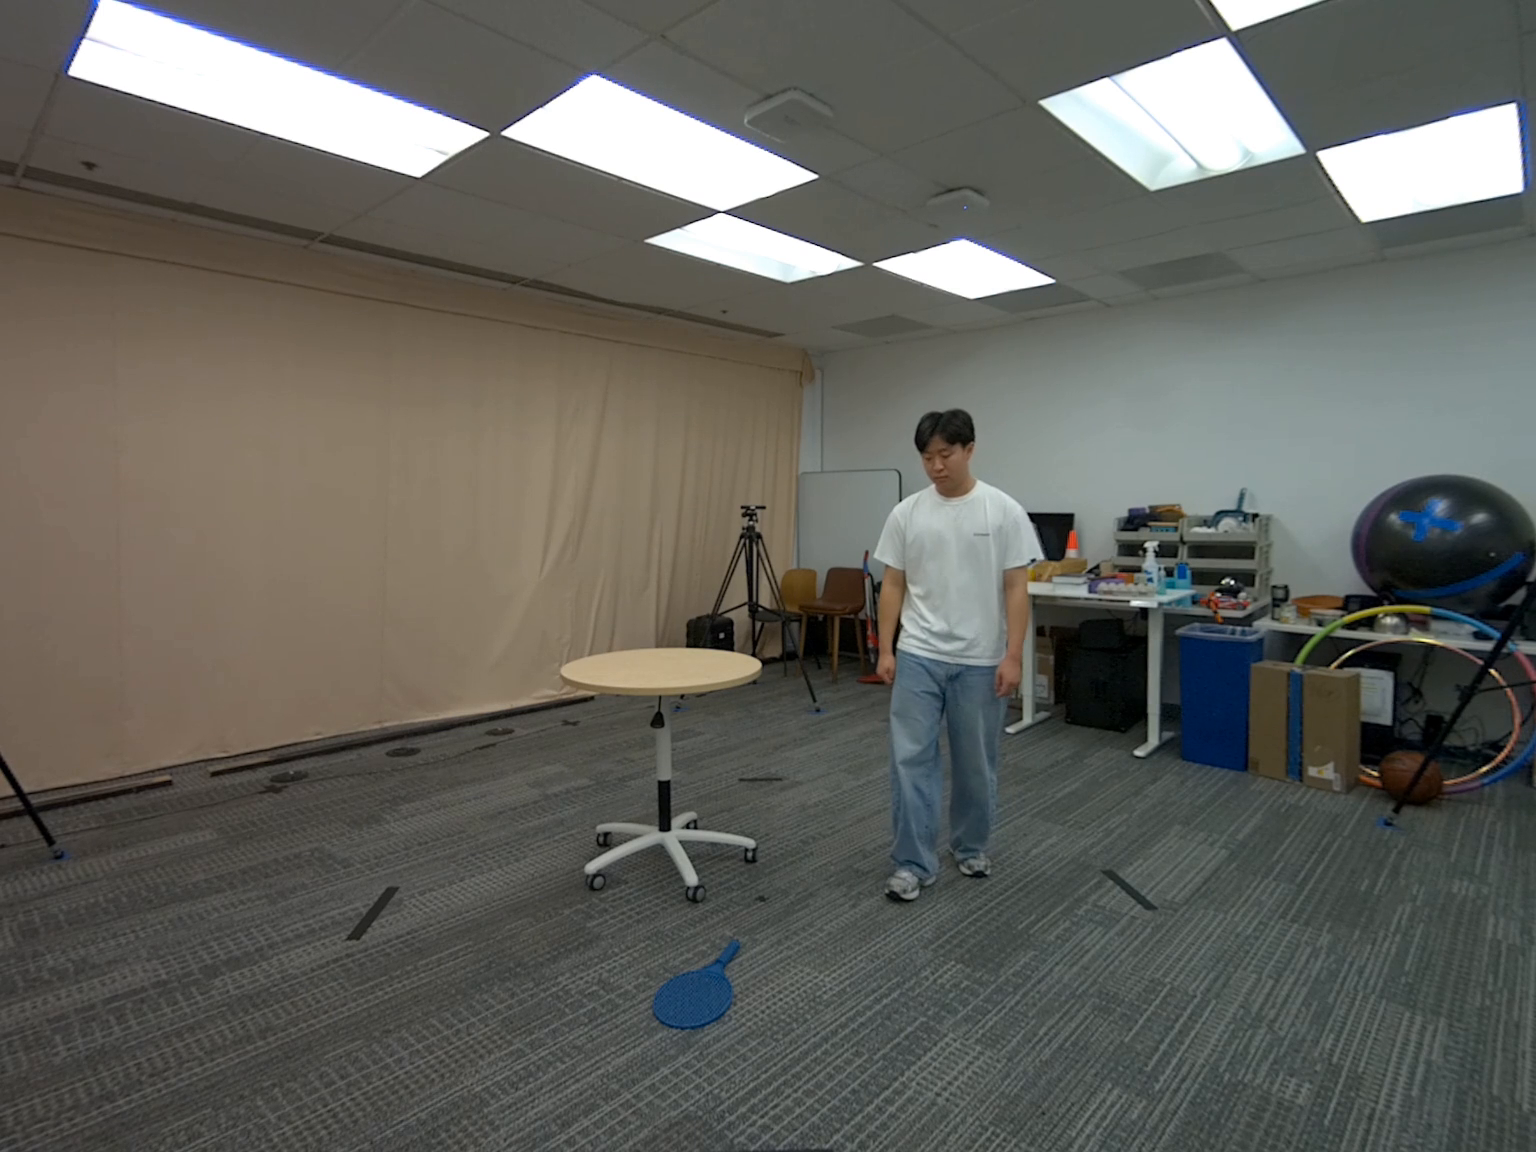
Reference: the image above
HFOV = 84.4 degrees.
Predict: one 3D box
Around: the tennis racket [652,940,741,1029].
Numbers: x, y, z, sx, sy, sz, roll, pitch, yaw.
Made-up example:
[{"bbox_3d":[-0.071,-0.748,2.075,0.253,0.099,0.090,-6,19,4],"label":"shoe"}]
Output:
[{"bbox_3d":[-0.177,1.176,2.442,0.219,0.031,0.424,3,8,24],"label":"tennis racket"}]
